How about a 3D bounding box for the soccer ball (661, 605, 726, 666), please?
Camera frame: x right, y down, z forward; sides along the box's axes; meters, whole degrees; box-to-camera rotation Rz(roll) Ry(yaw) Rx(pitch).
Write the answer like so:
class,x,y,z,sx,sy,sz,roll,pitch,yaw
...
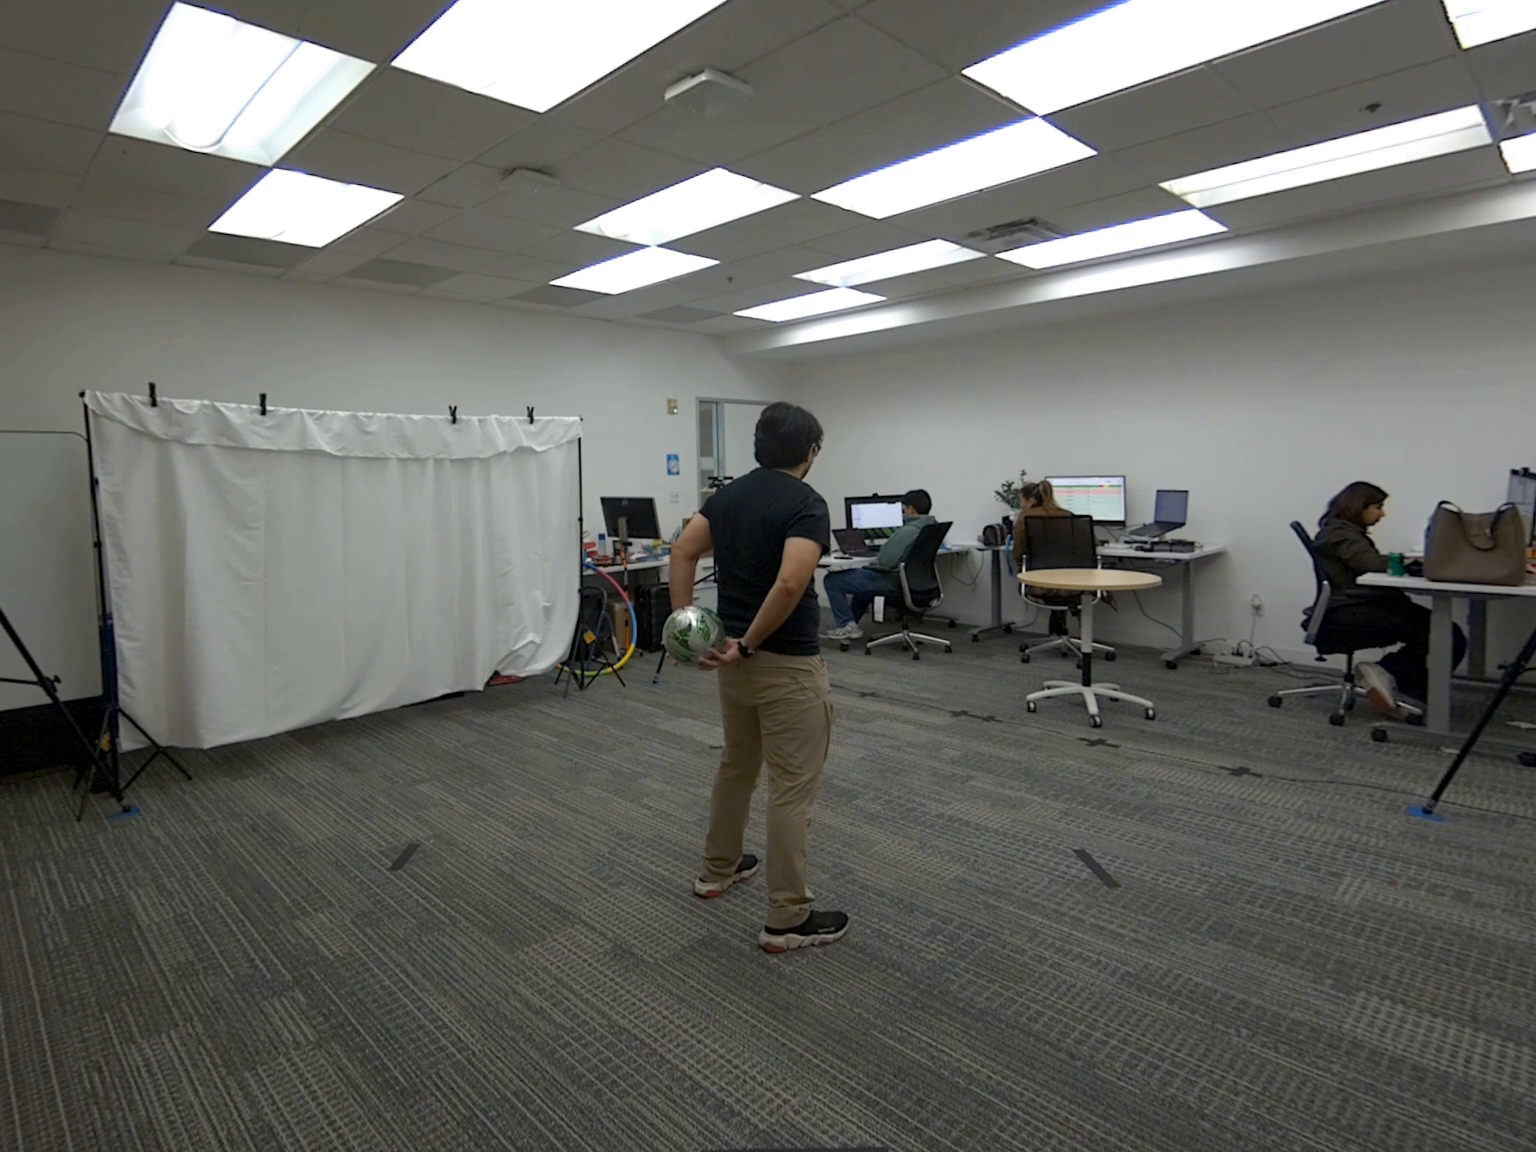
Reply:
class,x,y,z,sx,sy,sz,roll,pitch,yaw
soccer ball,-0.219,0.179,2.560,0.187,0.187,0.188,-1,5,-2
